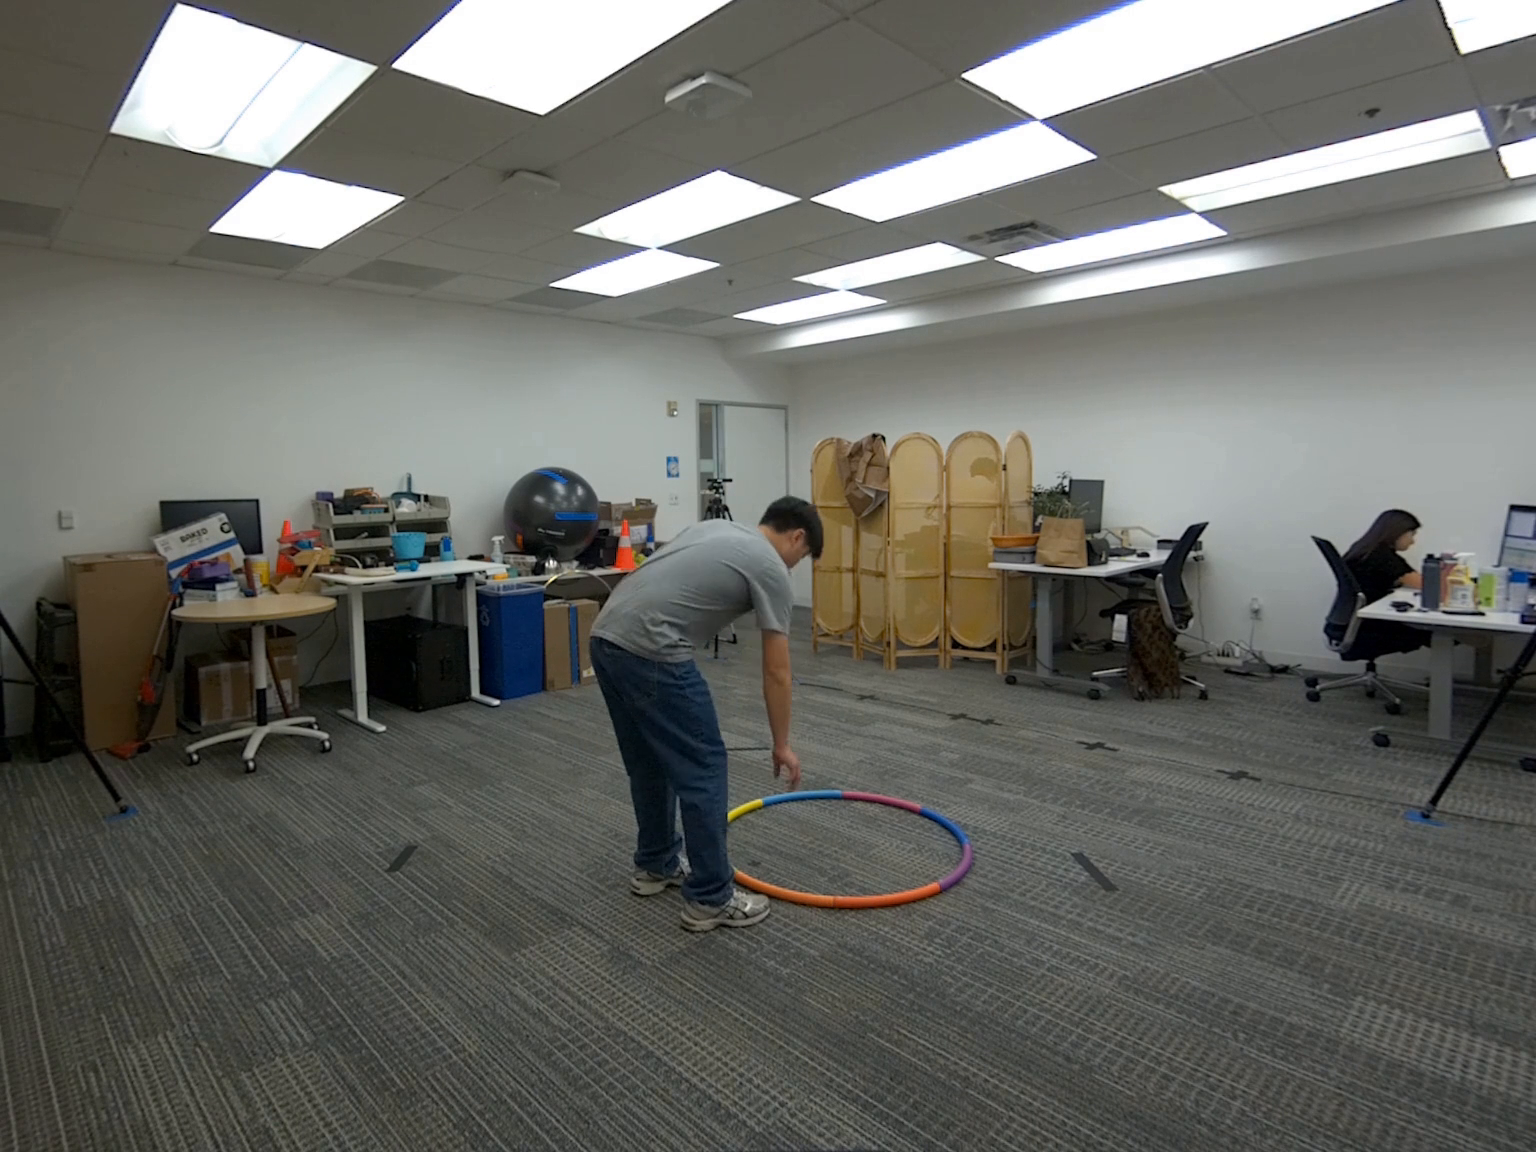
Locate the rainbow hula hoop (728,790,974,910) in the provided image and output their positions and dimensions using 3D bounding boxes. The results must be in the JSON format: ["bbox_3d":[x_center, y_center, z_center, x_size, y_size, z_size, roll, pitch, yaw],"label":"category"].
[{"bbox_3d":[0.260,0.993,3.248,0.978,0.035,0.984,-1,7,-2],"label":"rainbow hula hoop"}]
